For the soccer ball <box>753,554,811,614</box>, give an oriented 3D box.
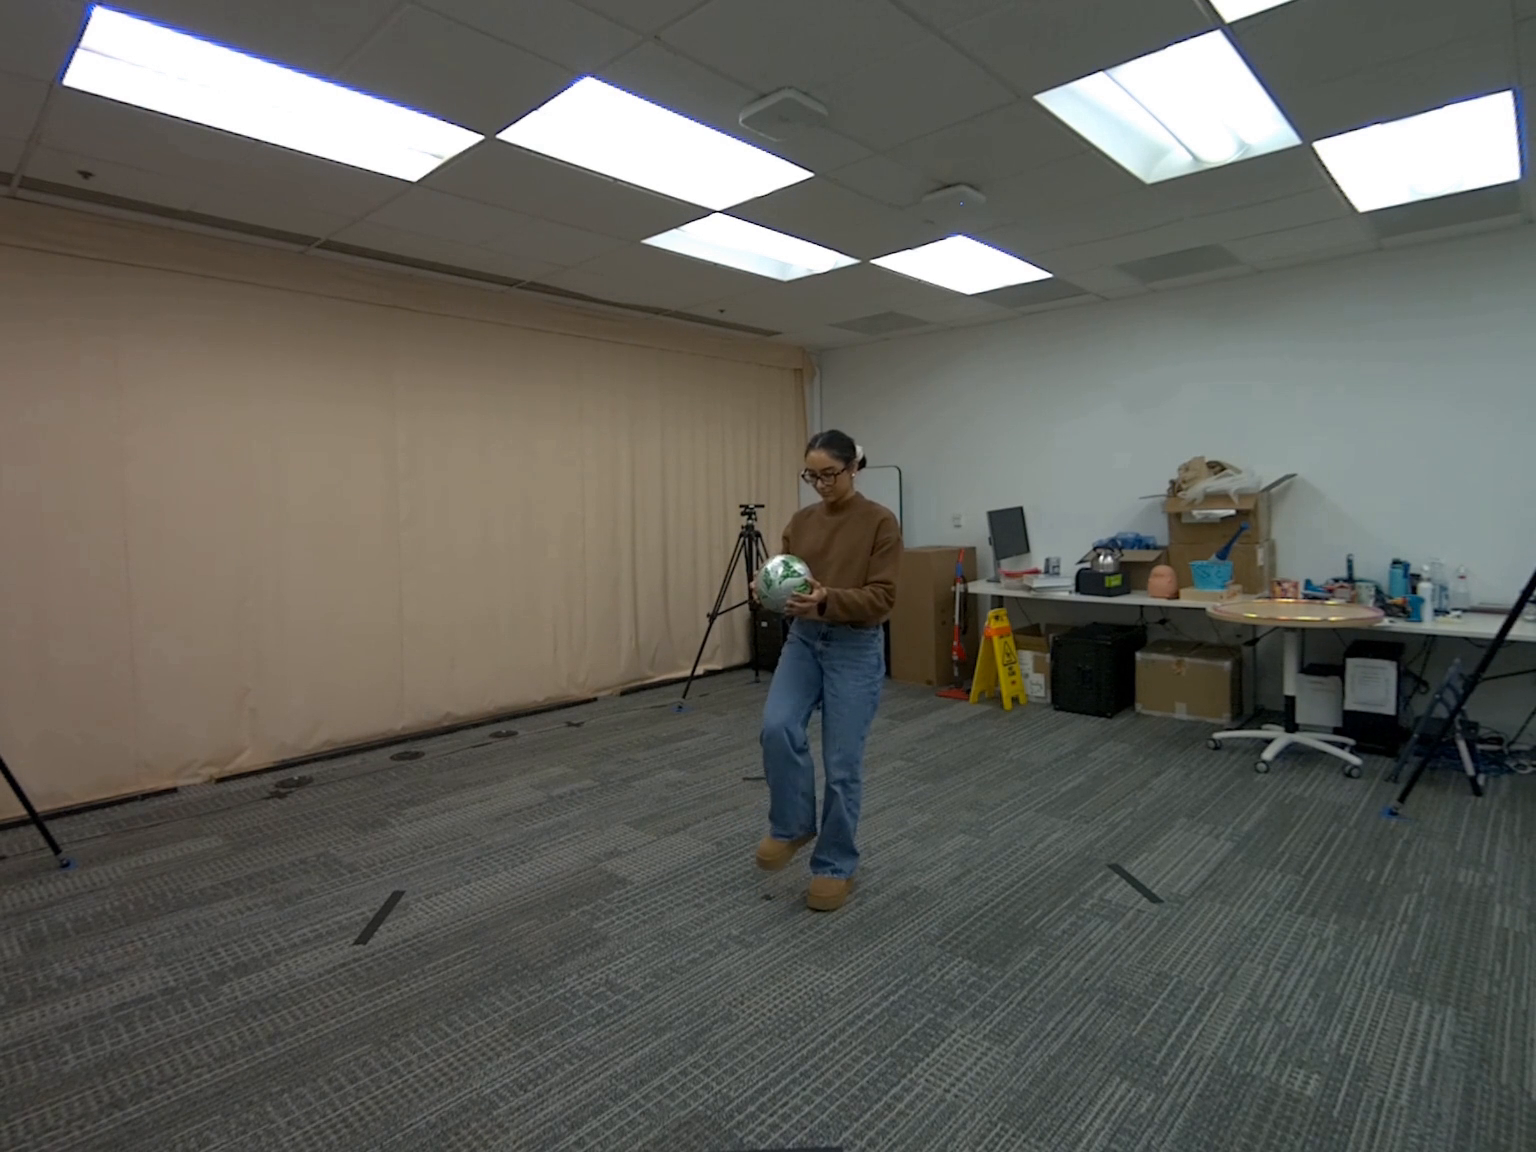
[{"bbox_3d":[0.046,0.029,2.689,0.187,0.187,0.188,-1,4,-2],"label":"soccer ball"}]
